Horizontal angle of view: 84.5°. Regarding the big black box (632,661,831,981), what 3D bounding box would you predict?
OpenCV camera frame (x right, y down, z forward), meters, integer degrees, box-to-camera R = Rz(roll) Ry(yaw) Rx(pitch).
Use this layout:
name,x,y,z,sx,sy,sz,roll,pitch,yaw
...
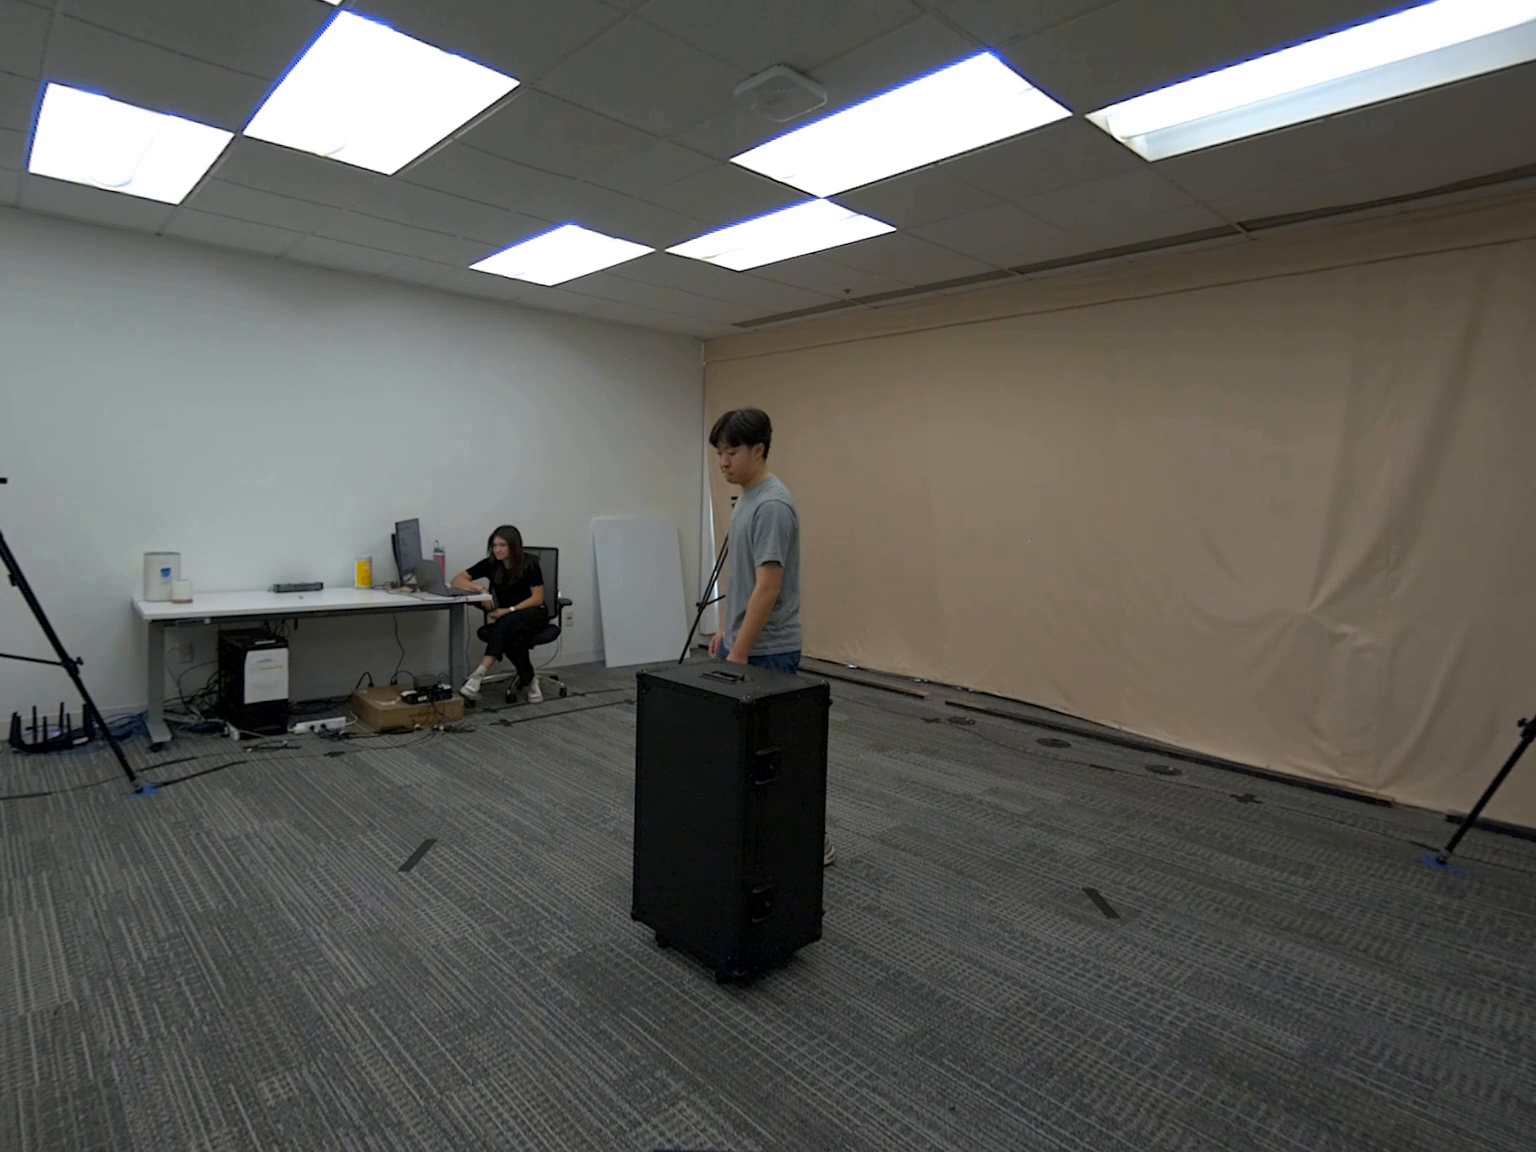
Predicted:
name,x,y,z,sx,sy,sz,roll,pitch,yaw
big black box,-0.123,0.730,2.571,0.534,0.860,0.387,5,4,45
